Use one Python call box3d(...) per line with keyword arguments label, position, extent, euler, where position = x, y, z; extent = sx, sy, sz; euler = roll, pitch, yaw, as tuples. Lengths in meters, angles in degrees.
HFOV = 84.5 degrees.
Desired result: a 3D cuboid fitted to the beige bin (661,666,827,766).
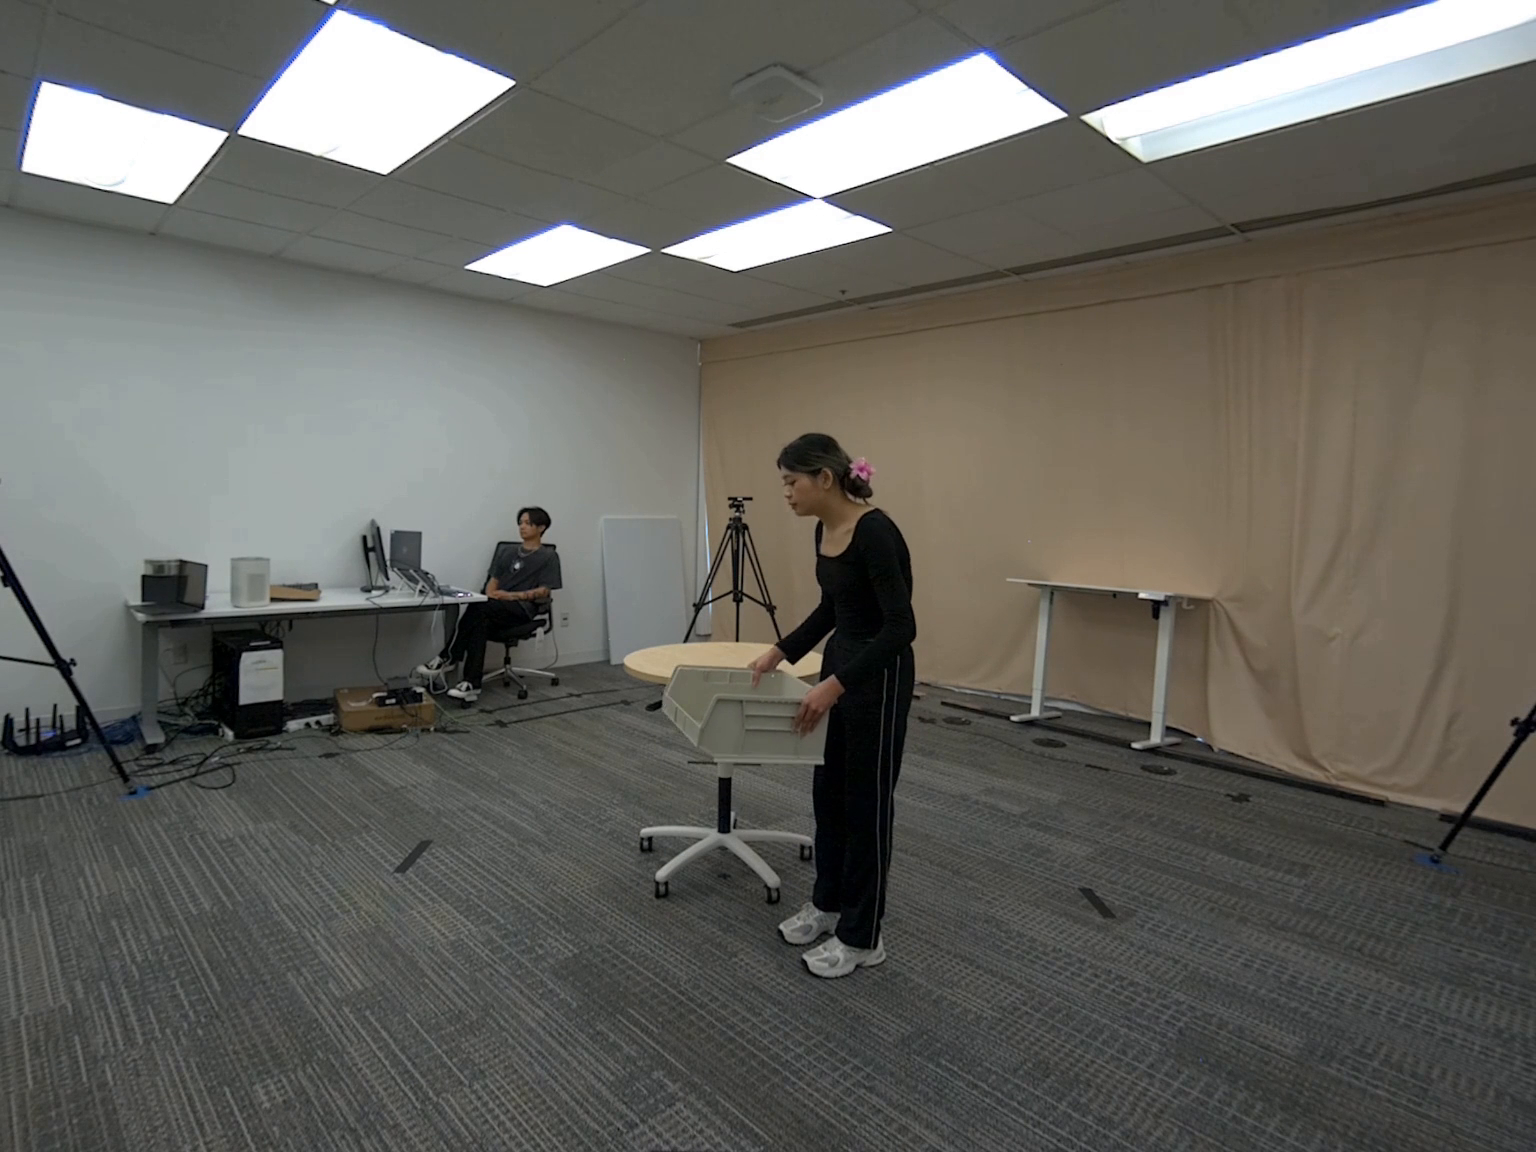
box3d(label="beige bin", position=(-0.076, 0.391, 2.402), extent=(0.371, 0.189, 0.429), euler=(6, 2, -20))
